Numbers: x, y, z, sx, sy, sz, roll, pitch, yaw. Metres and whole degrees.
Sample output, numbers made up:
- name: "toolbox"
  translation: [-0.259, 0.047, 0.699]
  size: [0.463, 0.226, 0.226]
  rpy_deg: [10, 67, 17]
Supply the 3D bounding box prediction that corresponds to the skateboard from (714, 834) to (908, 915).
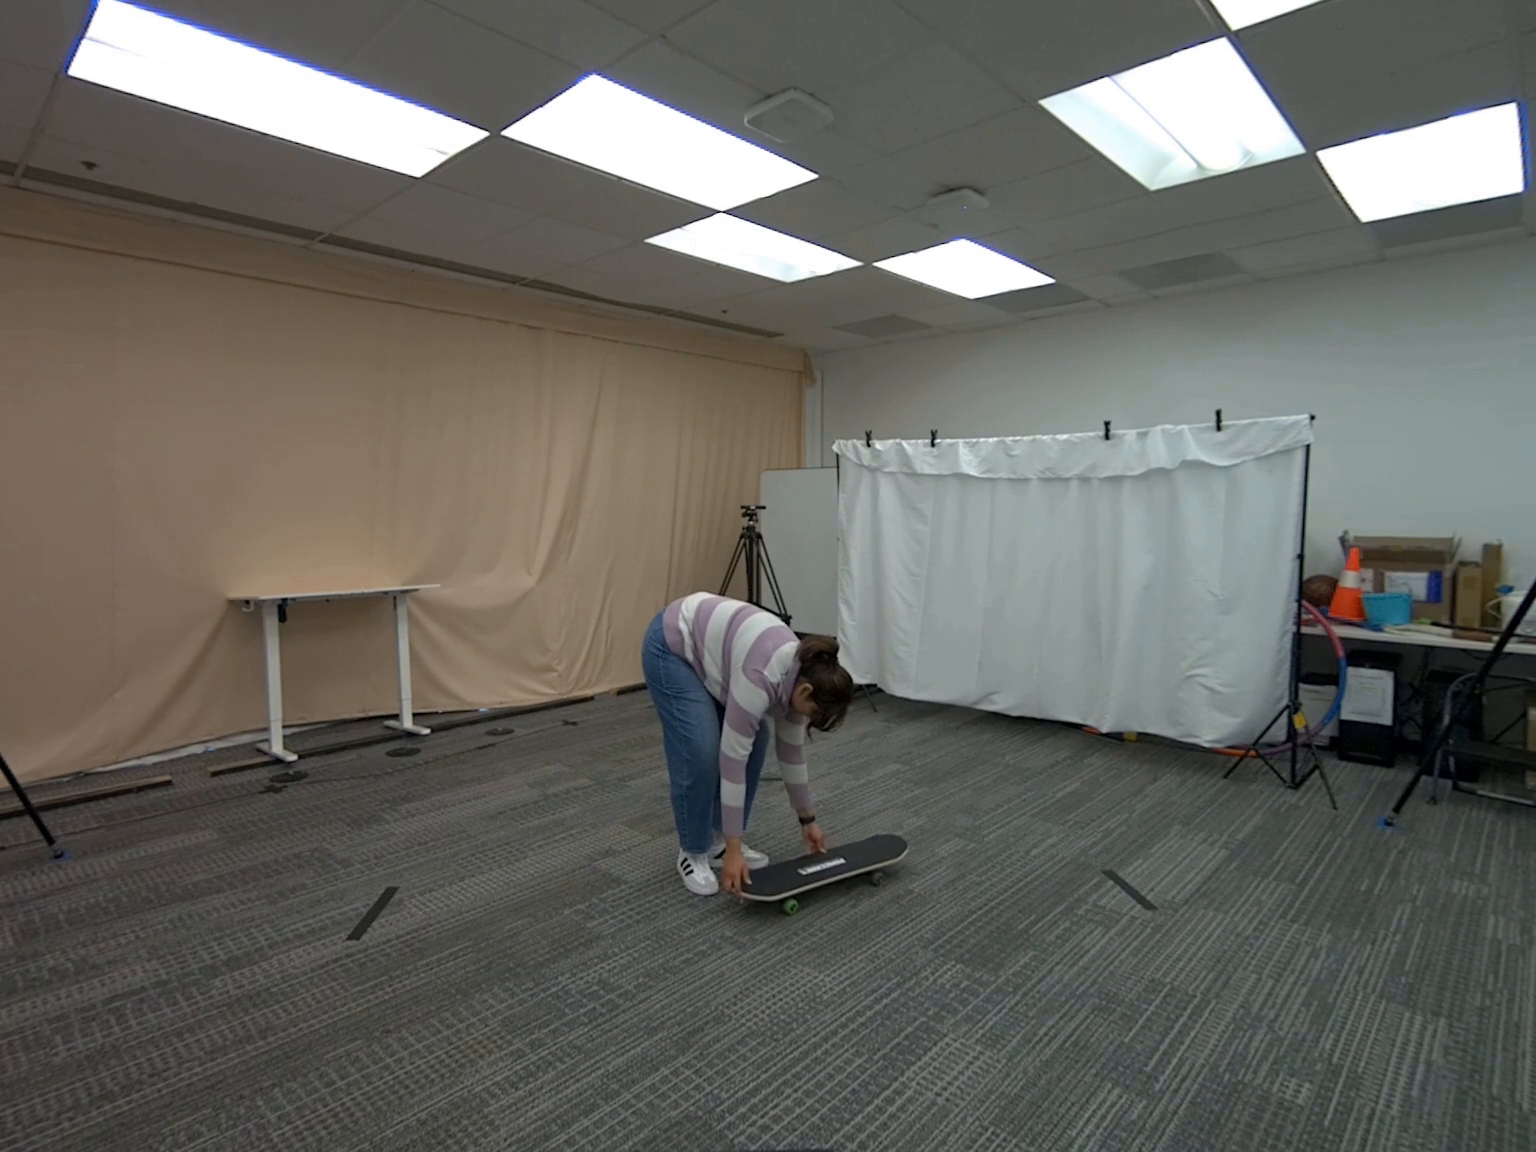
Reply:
- name: "skateboard"
  translation: [0.195, 1.078, 3.038]
  size: [0.763, 0.110, 0.200]
  rpy_deg: [-3, 8, -33]
